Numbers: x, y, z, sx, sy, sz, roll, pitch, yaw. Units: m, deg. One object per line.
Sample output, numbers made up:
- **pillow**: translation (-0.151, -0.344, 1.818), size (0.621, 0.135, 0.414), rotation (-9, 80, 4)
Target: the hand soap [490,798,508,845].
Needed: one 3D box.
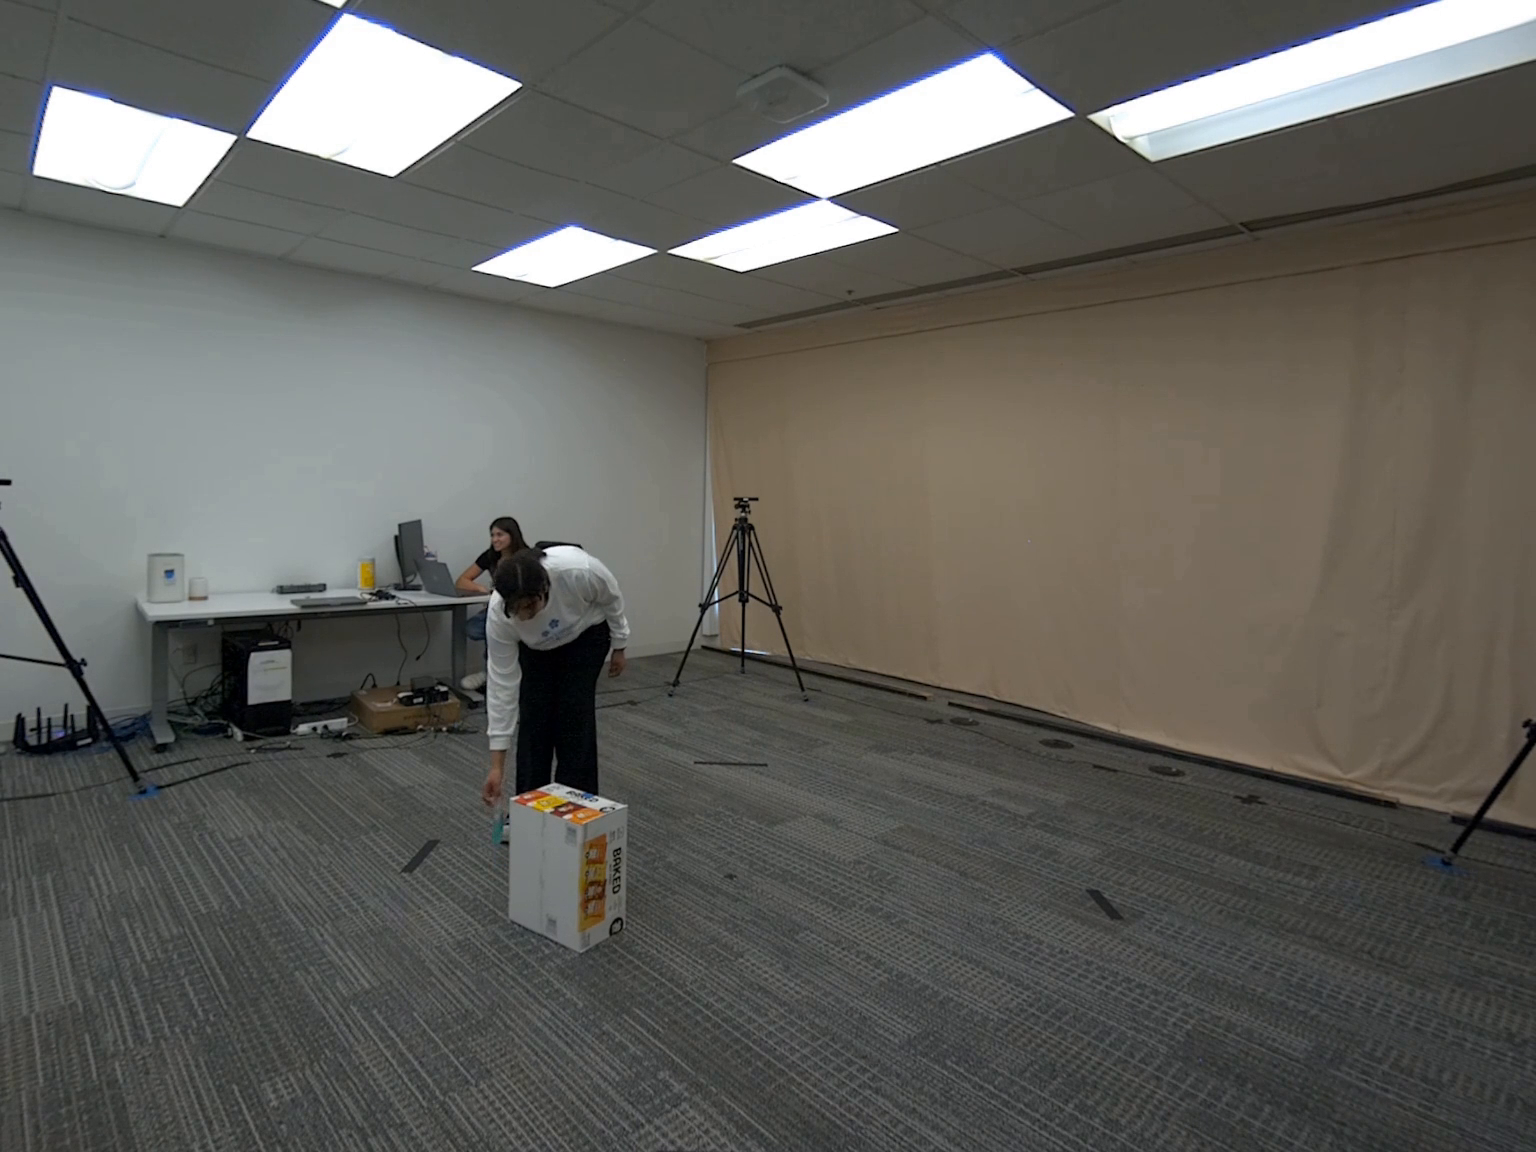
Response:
- **hand soap**: translation (-1.025, 0.914, 3.144), size (0.043, 0.168, 0.085), rotation (6, 2, -1)
